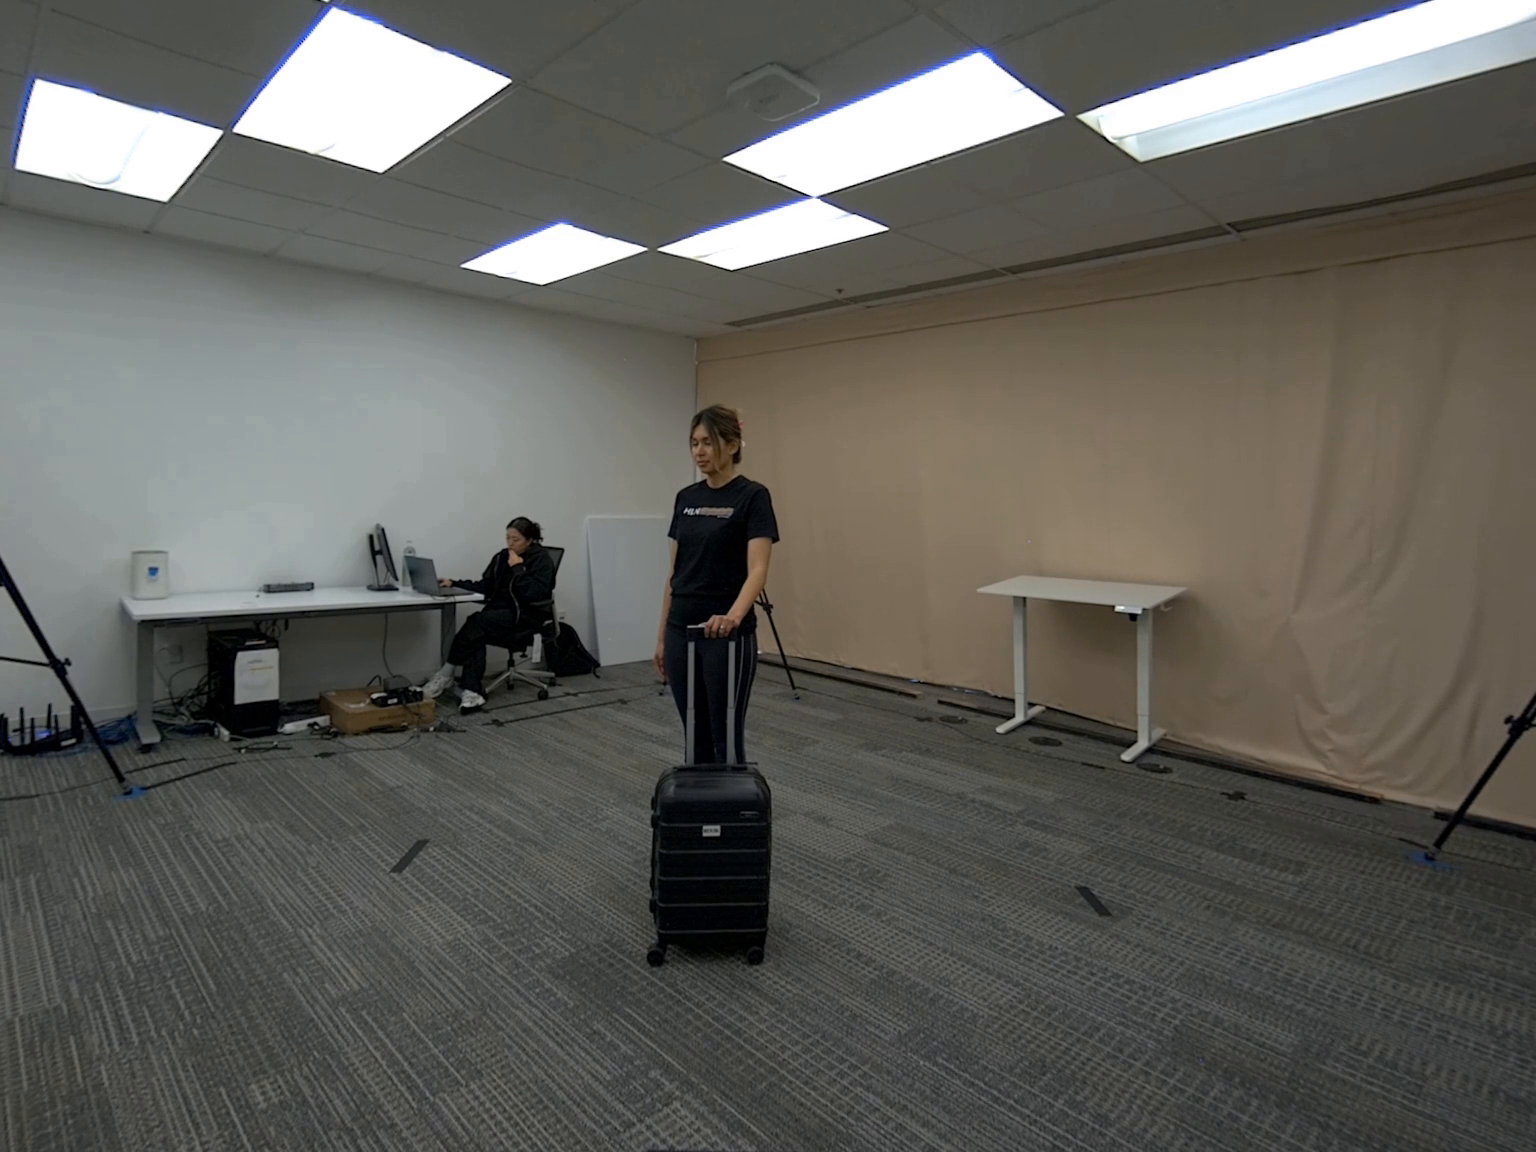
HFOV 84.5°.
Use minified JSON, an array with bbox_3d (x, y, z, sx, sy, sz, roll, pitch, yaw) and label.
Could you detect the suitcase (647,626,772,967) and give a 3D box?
[{"bbox_3d":[-0.176,0.676,2.587,0.383,0.974,0.259,1,7,-4],"label":"suitcase"}]
